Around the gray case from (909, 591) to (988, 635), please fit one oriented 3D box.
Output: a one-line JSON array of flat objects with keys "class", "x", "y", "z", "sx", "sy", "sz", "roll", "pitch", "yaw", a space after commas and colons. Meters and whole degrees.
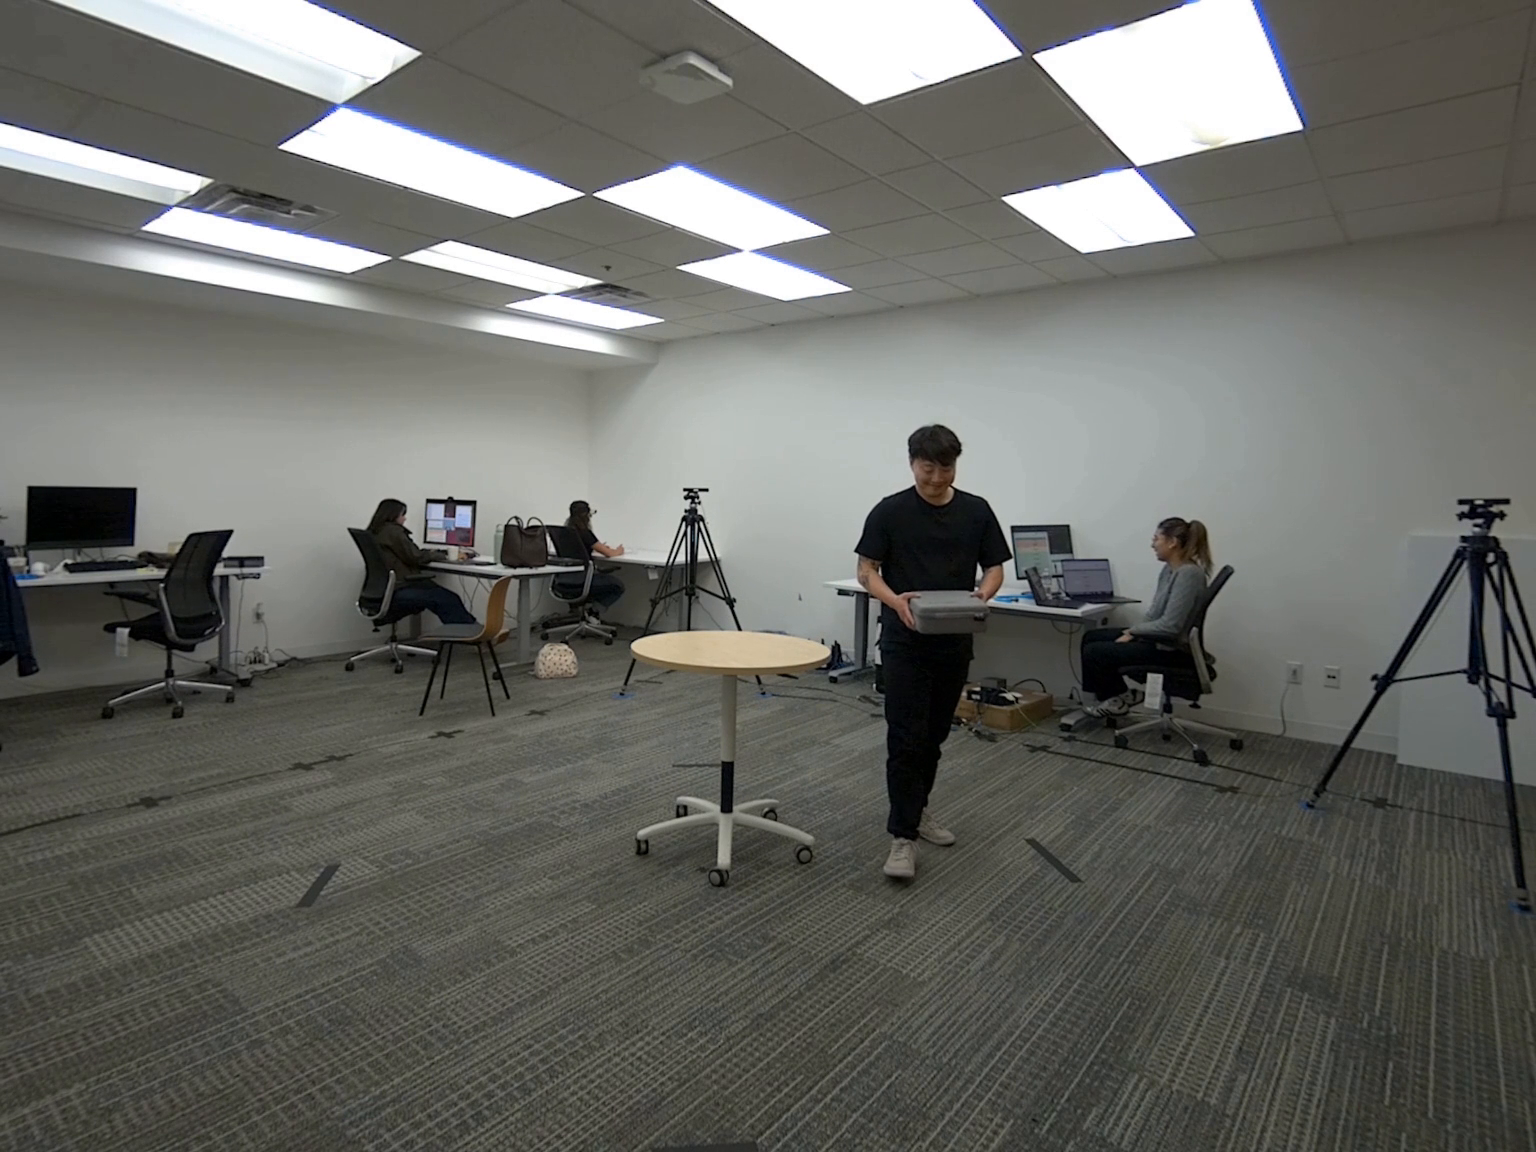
[{"class": "gray case", "x": 0.652, "y": 0.121, "z": 3.084, "sx": 0.257, "sy": 0.103, "sz": 0.263, "roll": -1, "pitch": 11, "yaw": -2}]
